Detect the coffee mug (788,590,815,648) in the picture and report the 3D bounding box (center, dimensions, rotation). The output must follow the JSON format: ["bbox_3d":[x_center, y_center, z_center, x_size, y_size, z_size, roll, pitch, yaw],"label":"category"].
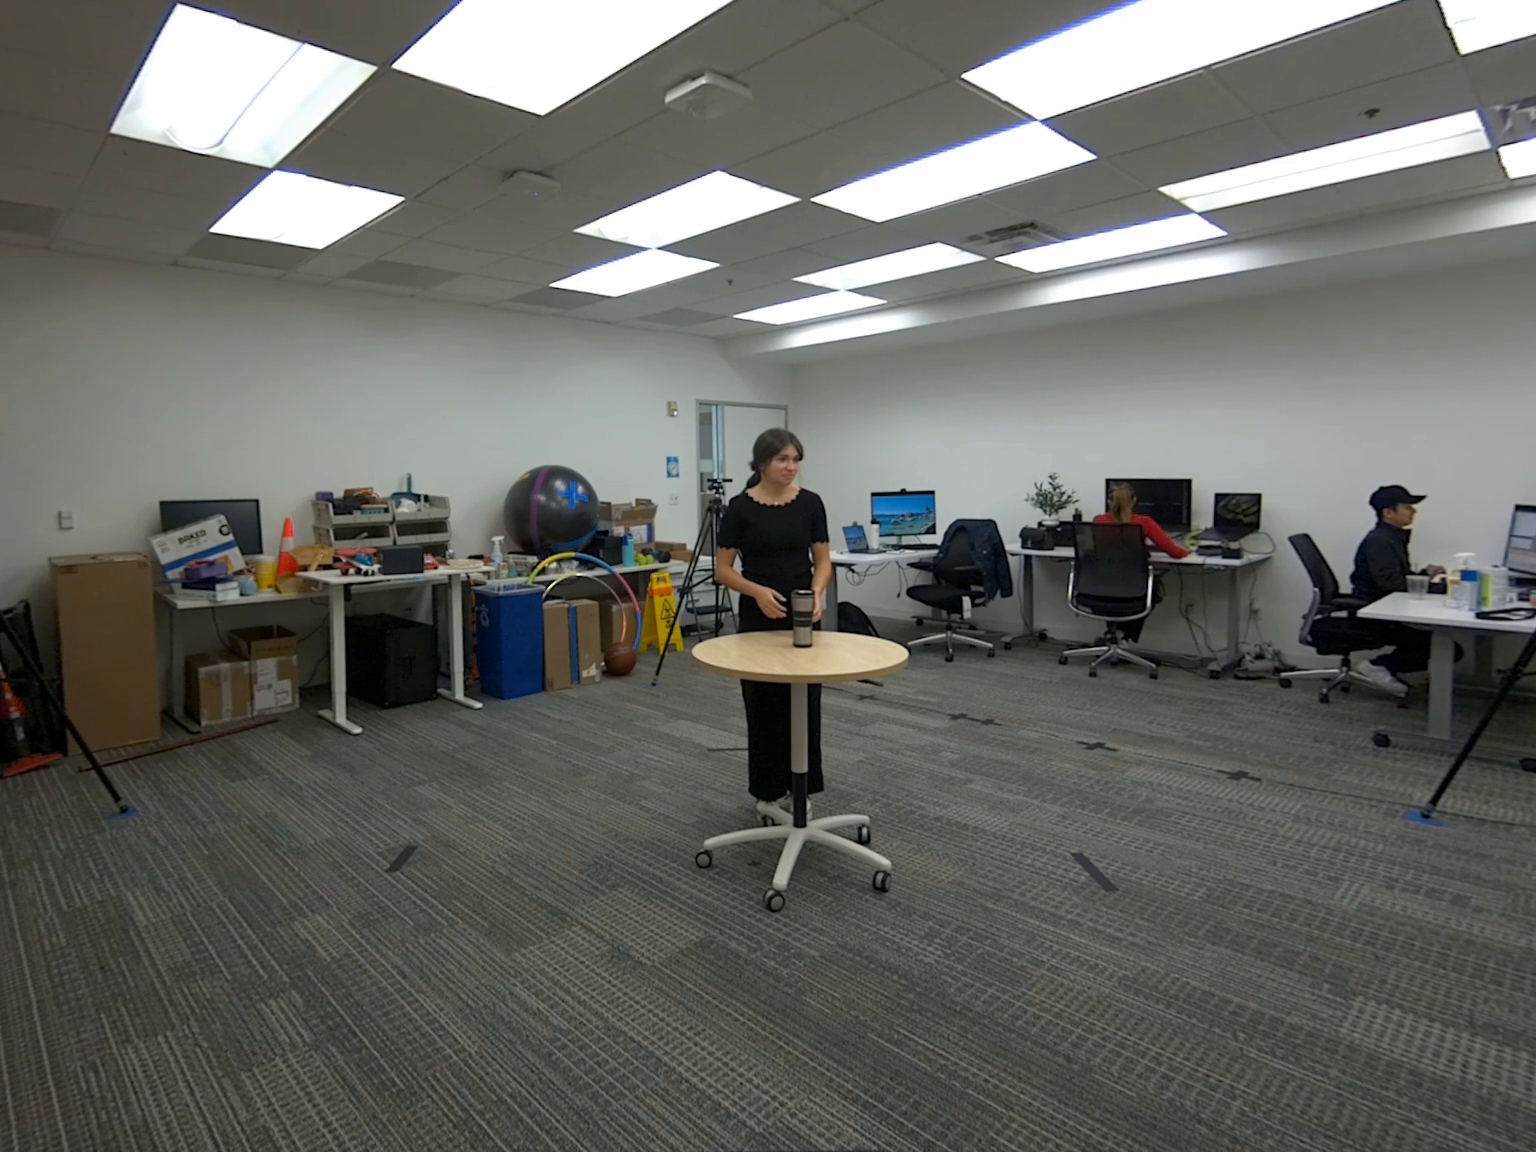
[{"bbox_3d":[0.140,0.162,3.128,0.118,0.203,0.090,-2,-3,-44],"label":"coffee mug"}]
